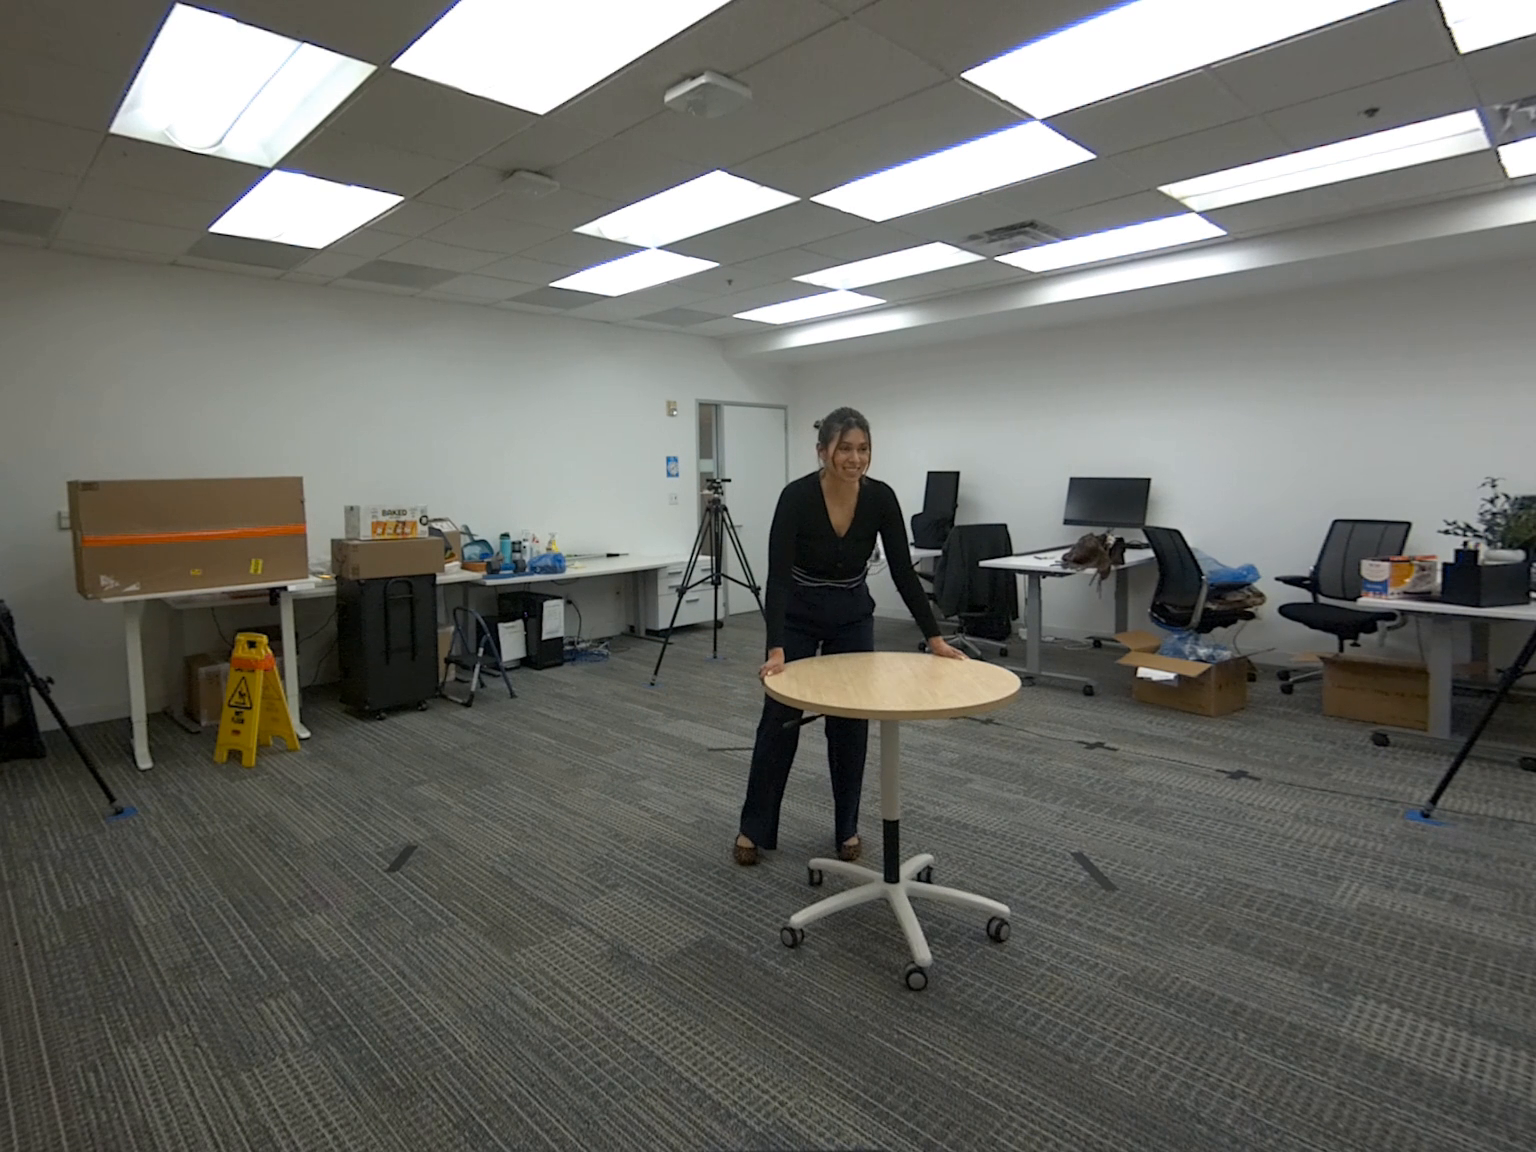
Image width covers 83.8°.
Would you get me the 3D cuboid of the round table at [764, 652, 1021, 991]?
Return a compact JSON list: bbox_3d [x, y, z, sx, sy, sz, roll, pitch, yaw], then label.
[{"bbox_3d":[0.373,0.703,2.649,0.763,0.791,0.768,-1,5,-2],"label":"round table"}]
